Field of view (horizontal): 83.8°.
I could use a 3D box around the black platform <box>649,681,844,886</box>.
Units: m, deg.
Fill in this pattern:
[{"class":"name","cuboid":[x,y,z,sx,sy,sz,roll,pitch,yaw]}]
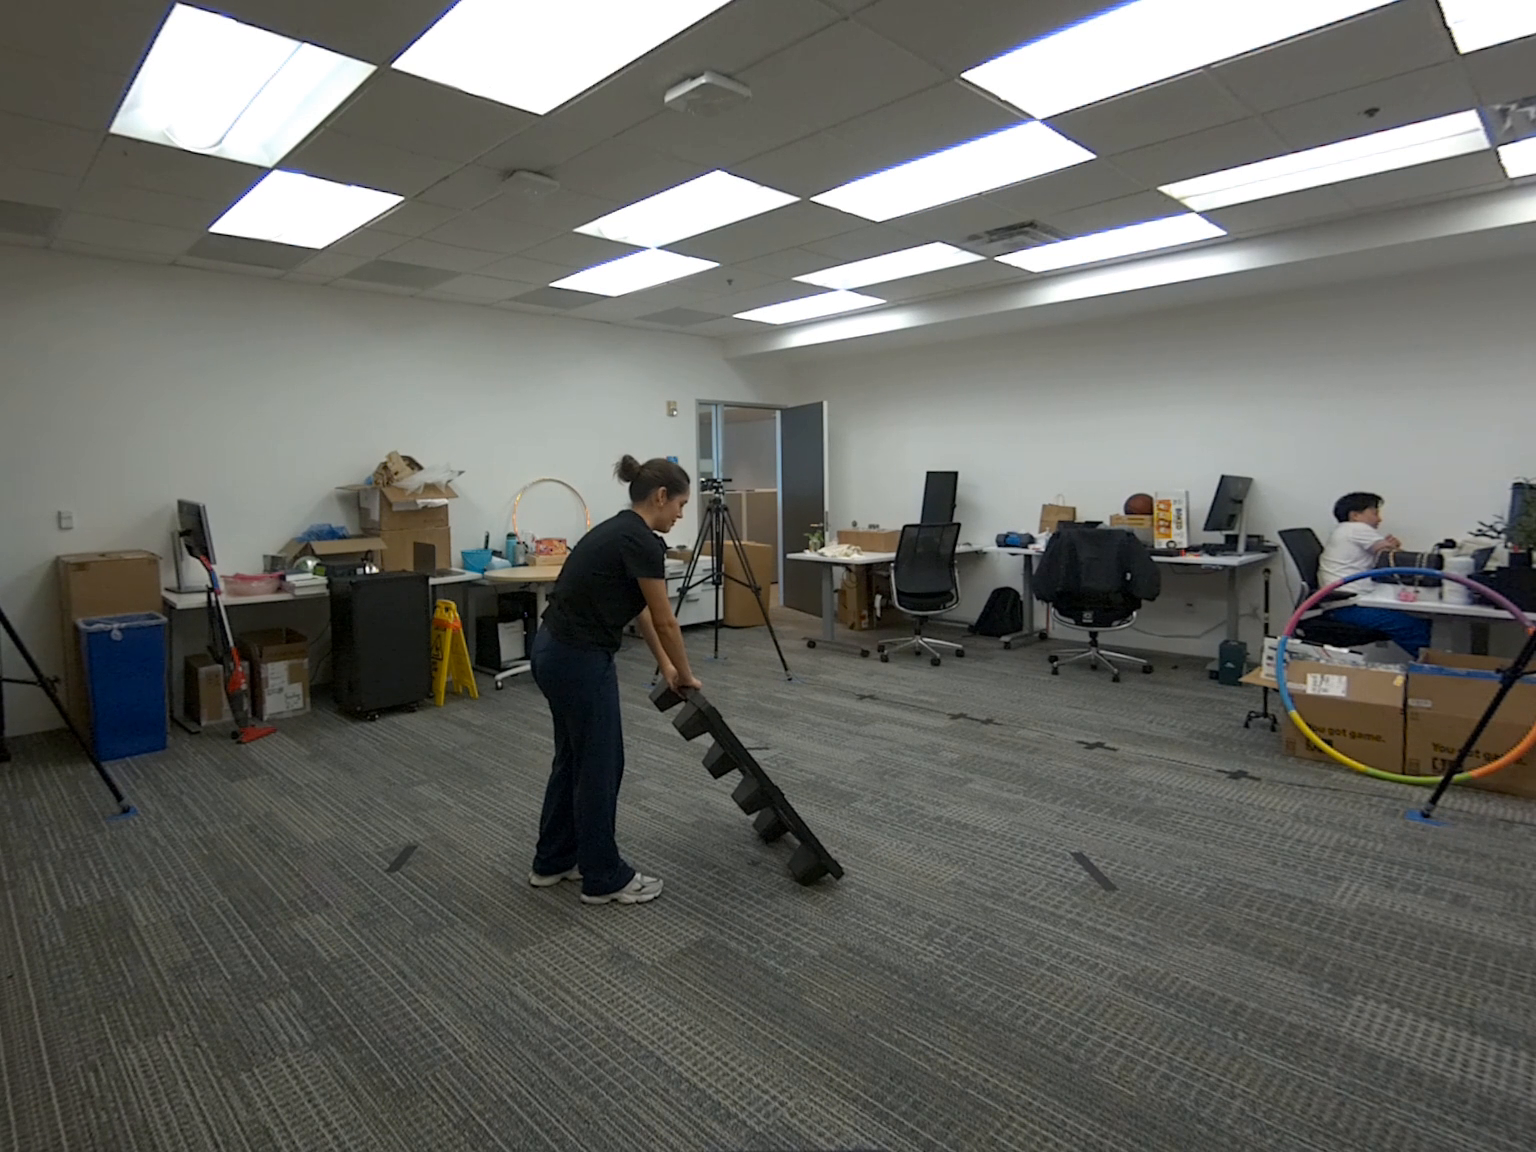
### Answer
[{"class":"black platform","cuboid":[-0.111,0.717,3.087,0.143,0.792,0.617,-39,14,-12]}]
